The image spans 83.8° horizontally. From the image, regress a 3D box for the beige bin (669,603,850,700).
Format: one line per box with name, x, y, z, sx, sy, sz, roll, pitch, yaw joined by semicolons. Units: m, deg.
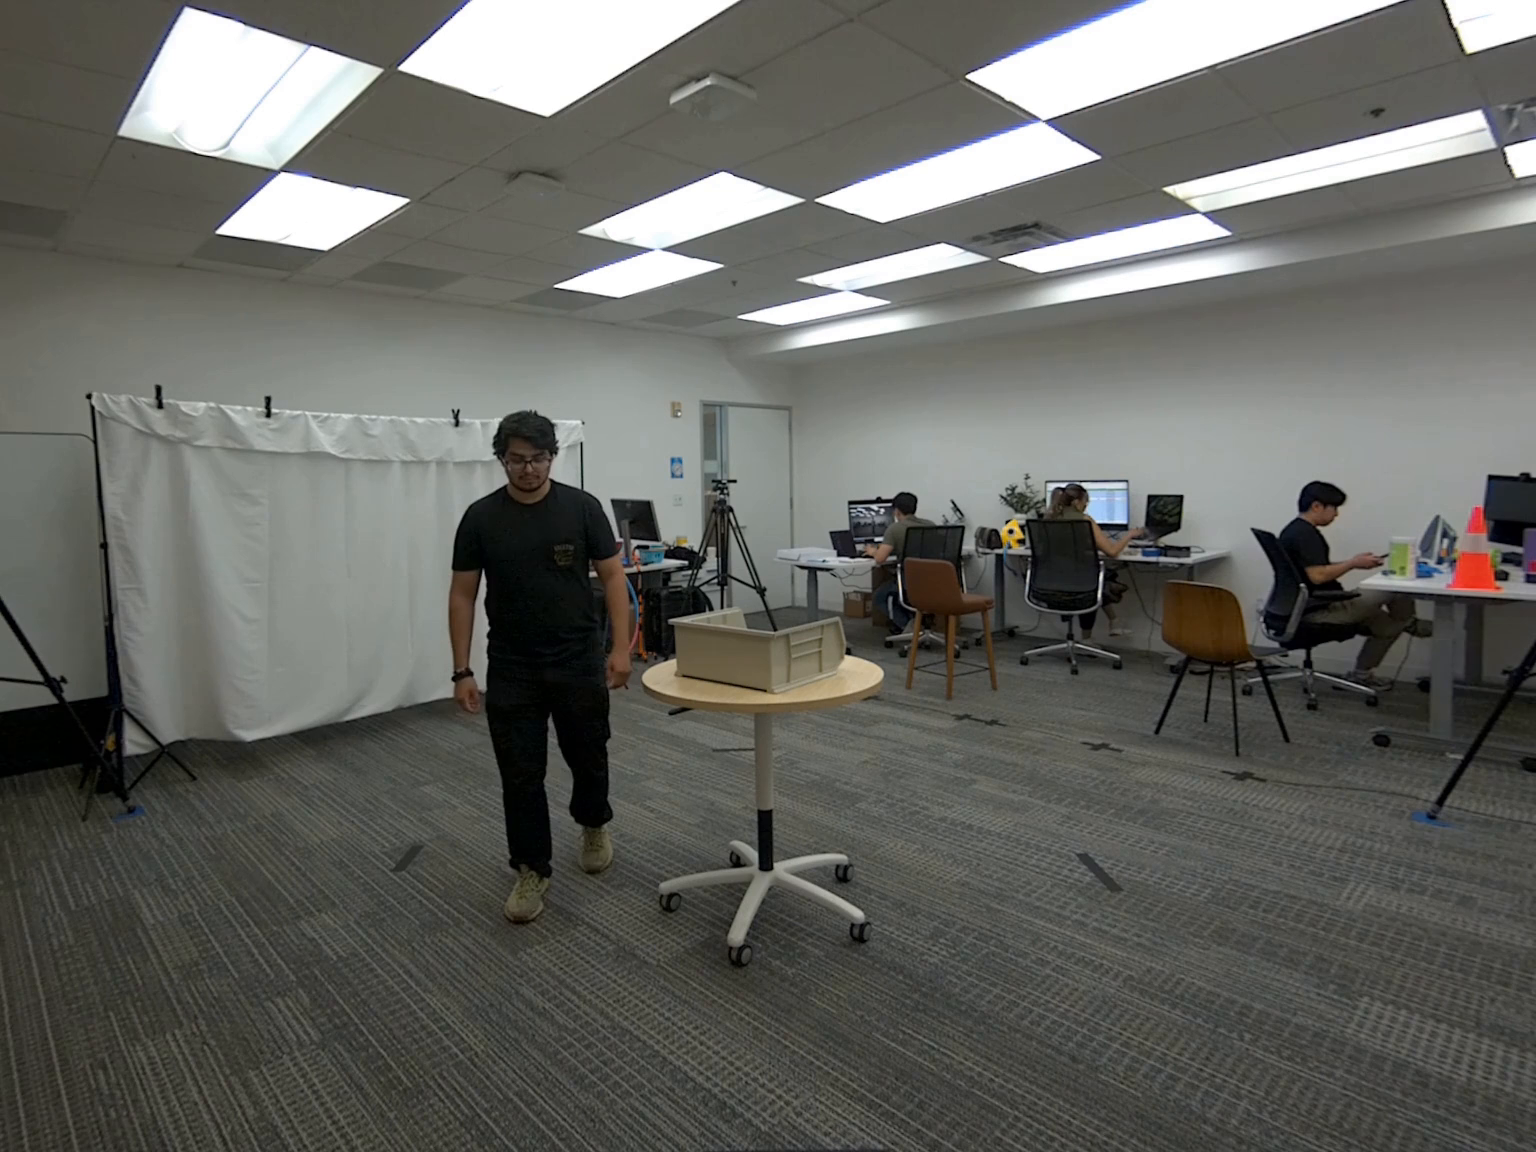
beige bin;-0.027;0.222;2.705;0.435;0.188;0.368;4;9;39
